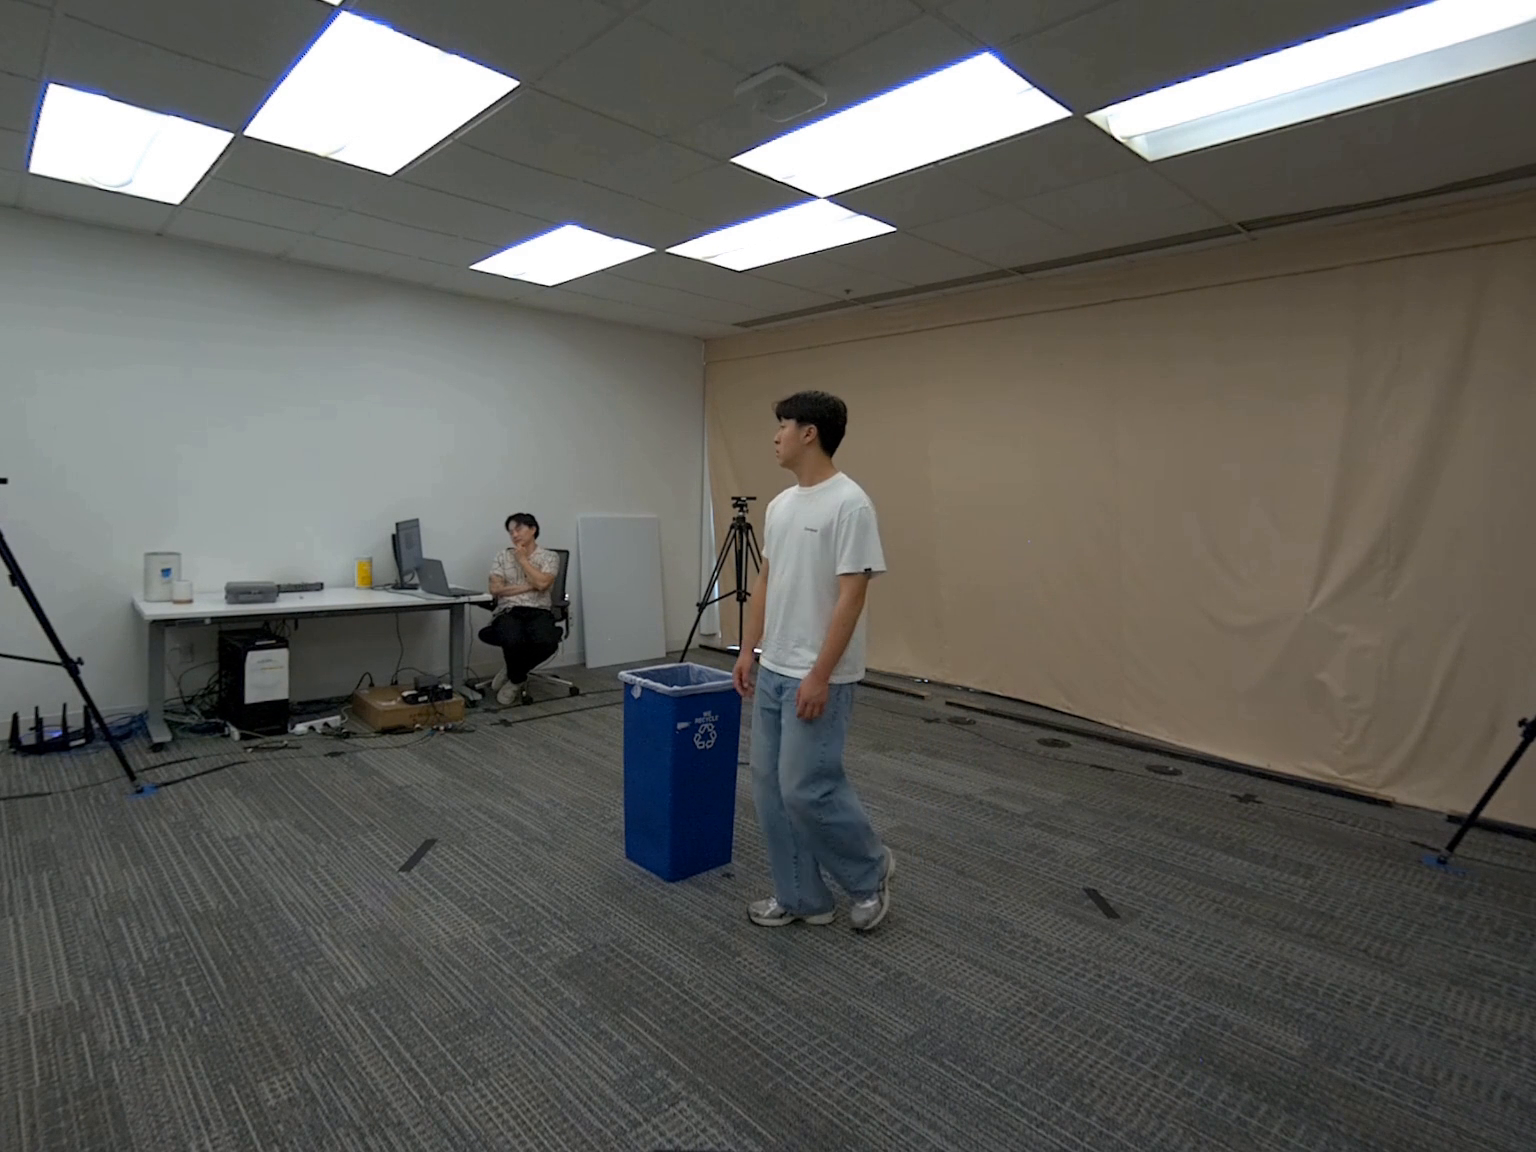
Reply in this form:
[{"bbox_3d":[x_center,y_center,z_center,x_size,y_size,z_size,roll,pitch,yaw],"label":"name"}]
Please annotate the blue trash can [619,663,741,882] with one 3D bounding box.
[{"bbox_3d":[-0.340,0.732,3.228,0.365,0.712,0.388,-2,5,-43],"label":"blue trash can"}]
